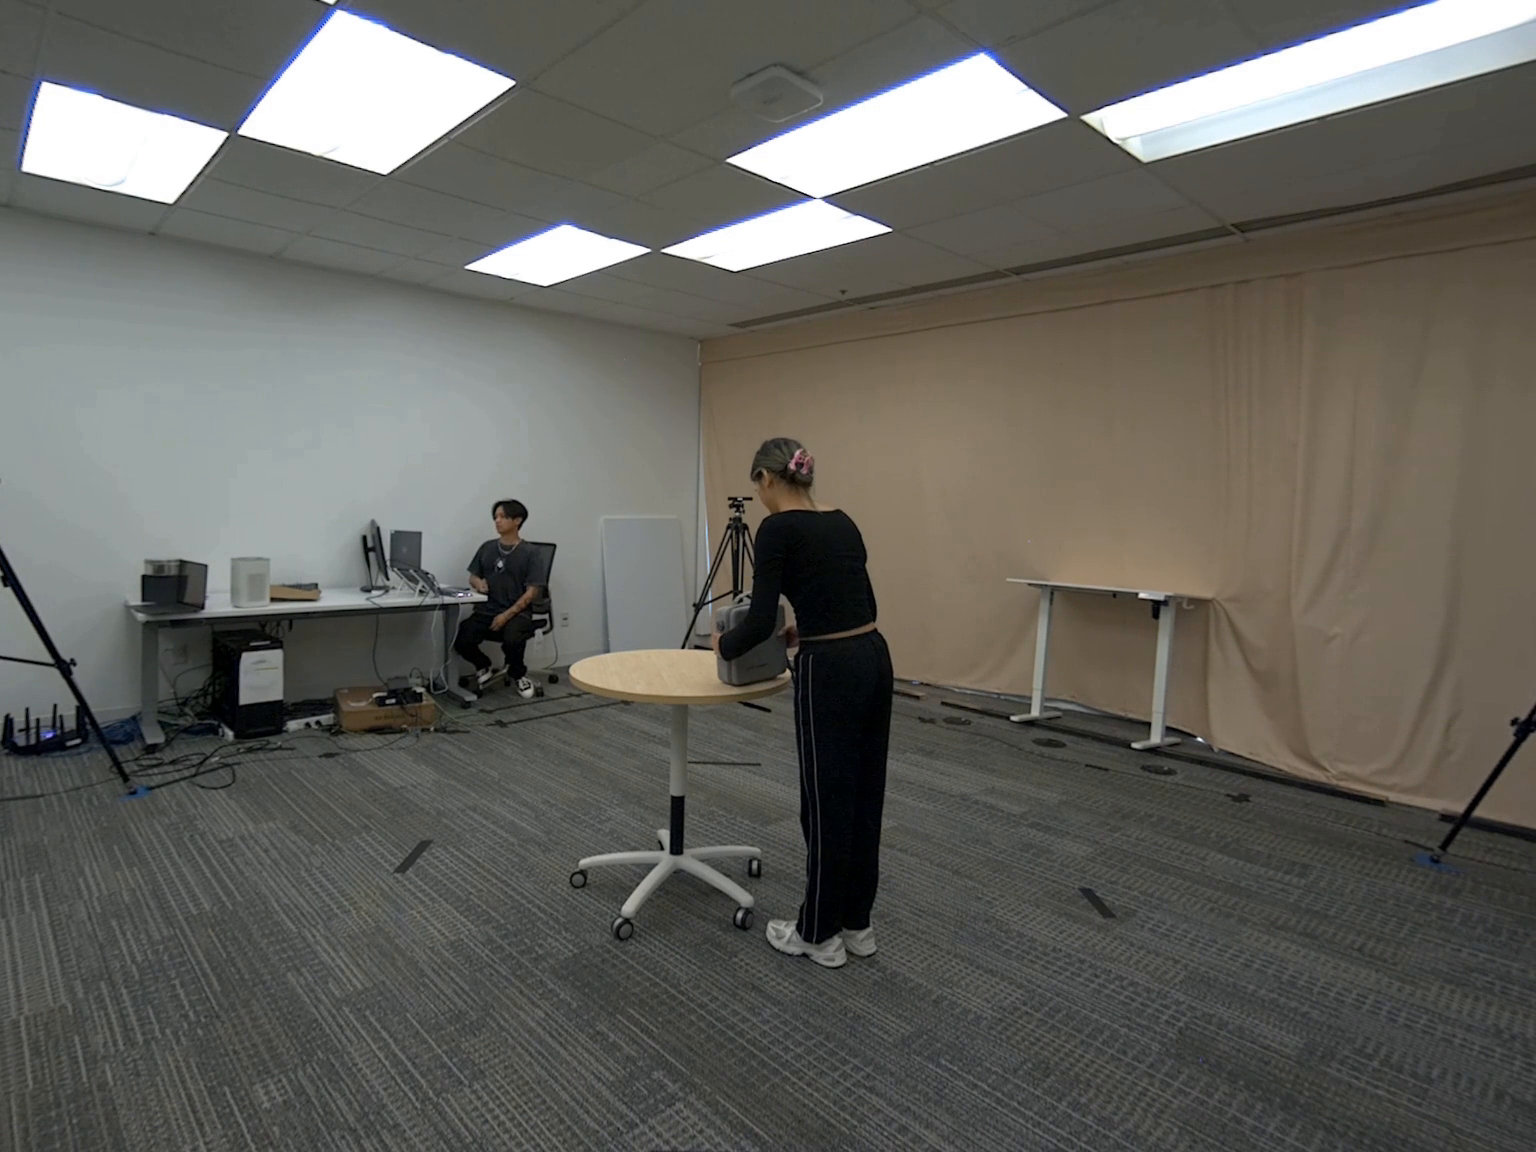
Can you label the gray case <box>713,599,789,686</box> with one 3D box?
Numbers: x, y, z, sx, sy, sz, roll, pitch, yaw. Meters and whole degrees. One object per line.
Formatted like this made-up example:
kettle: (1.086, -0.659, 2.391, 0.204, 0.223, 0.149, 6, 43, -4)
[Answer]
gray case: (-0.061, 0.213, 2.783, 0.251, 0.260, 0.107, -4, 3, -43)
